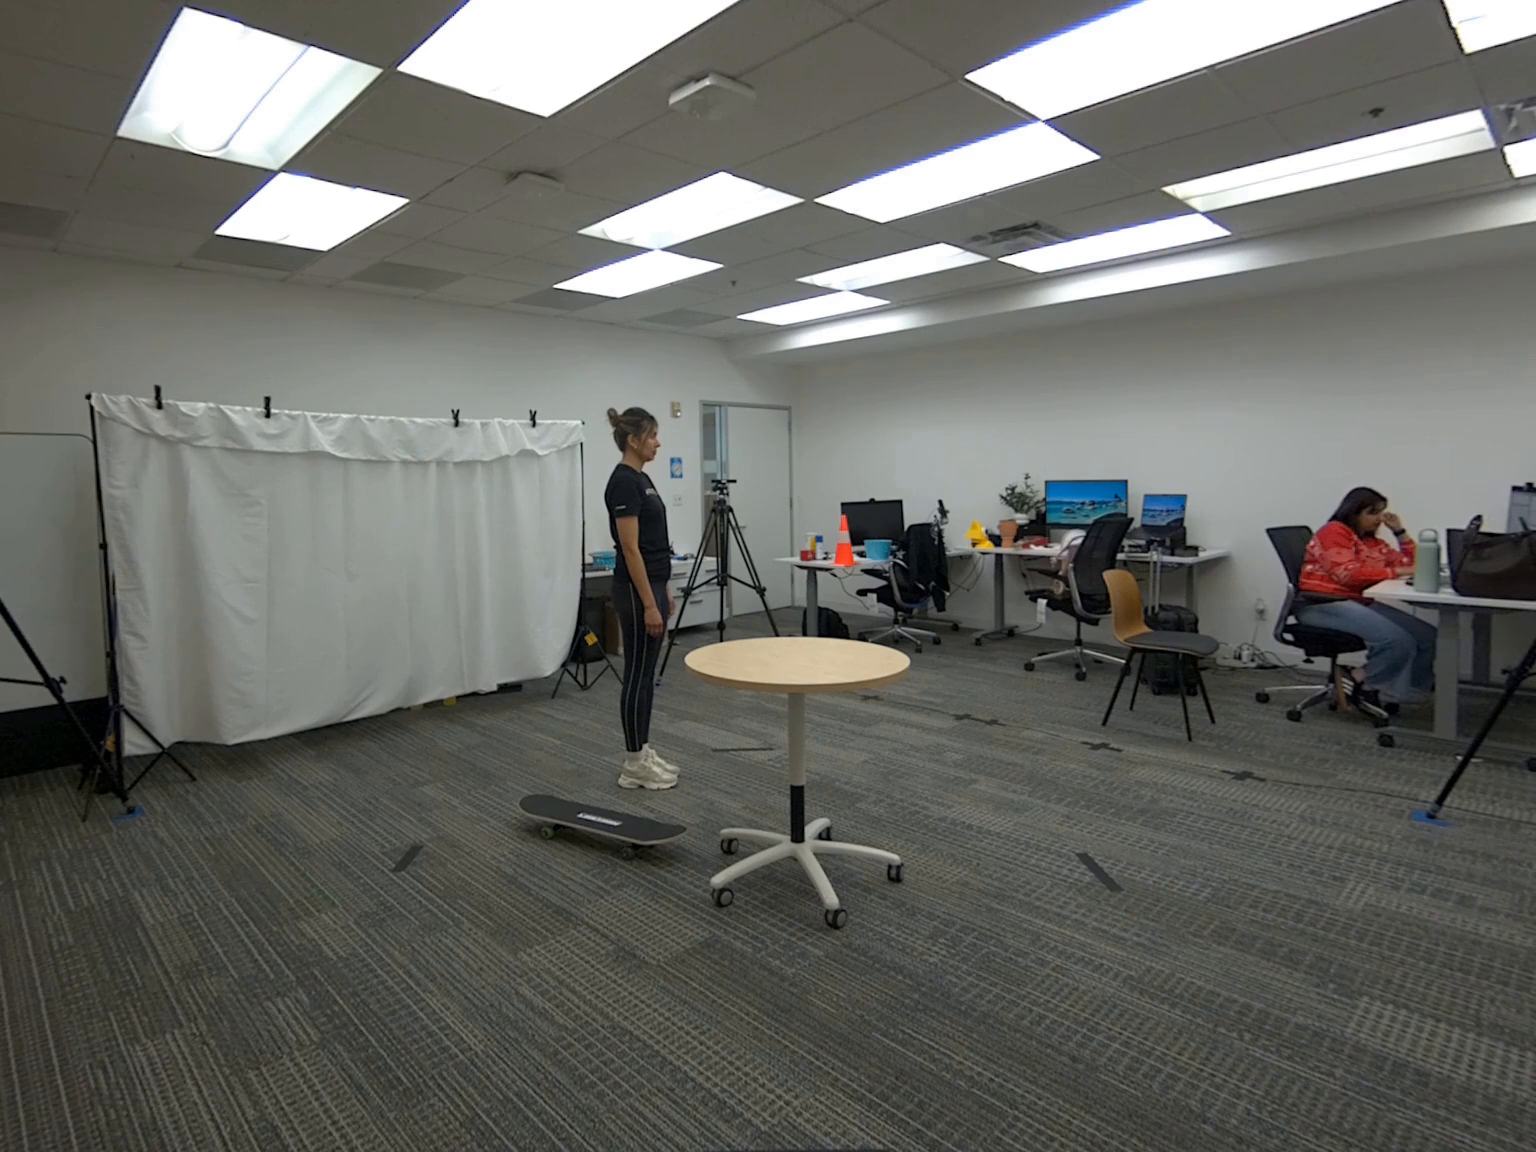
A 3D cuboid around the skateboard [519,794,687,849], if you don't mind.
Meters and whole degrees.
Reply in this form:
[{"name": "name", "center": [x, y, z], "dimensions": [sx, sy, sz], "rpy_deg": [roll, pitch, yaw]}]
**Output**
[{"name": "skateboard", "center": [-0.655, 0.983, 3.330], "dimensions": [0.806, 0.110, 0.189], "rpy_deg": [2, 6, 30]}]
